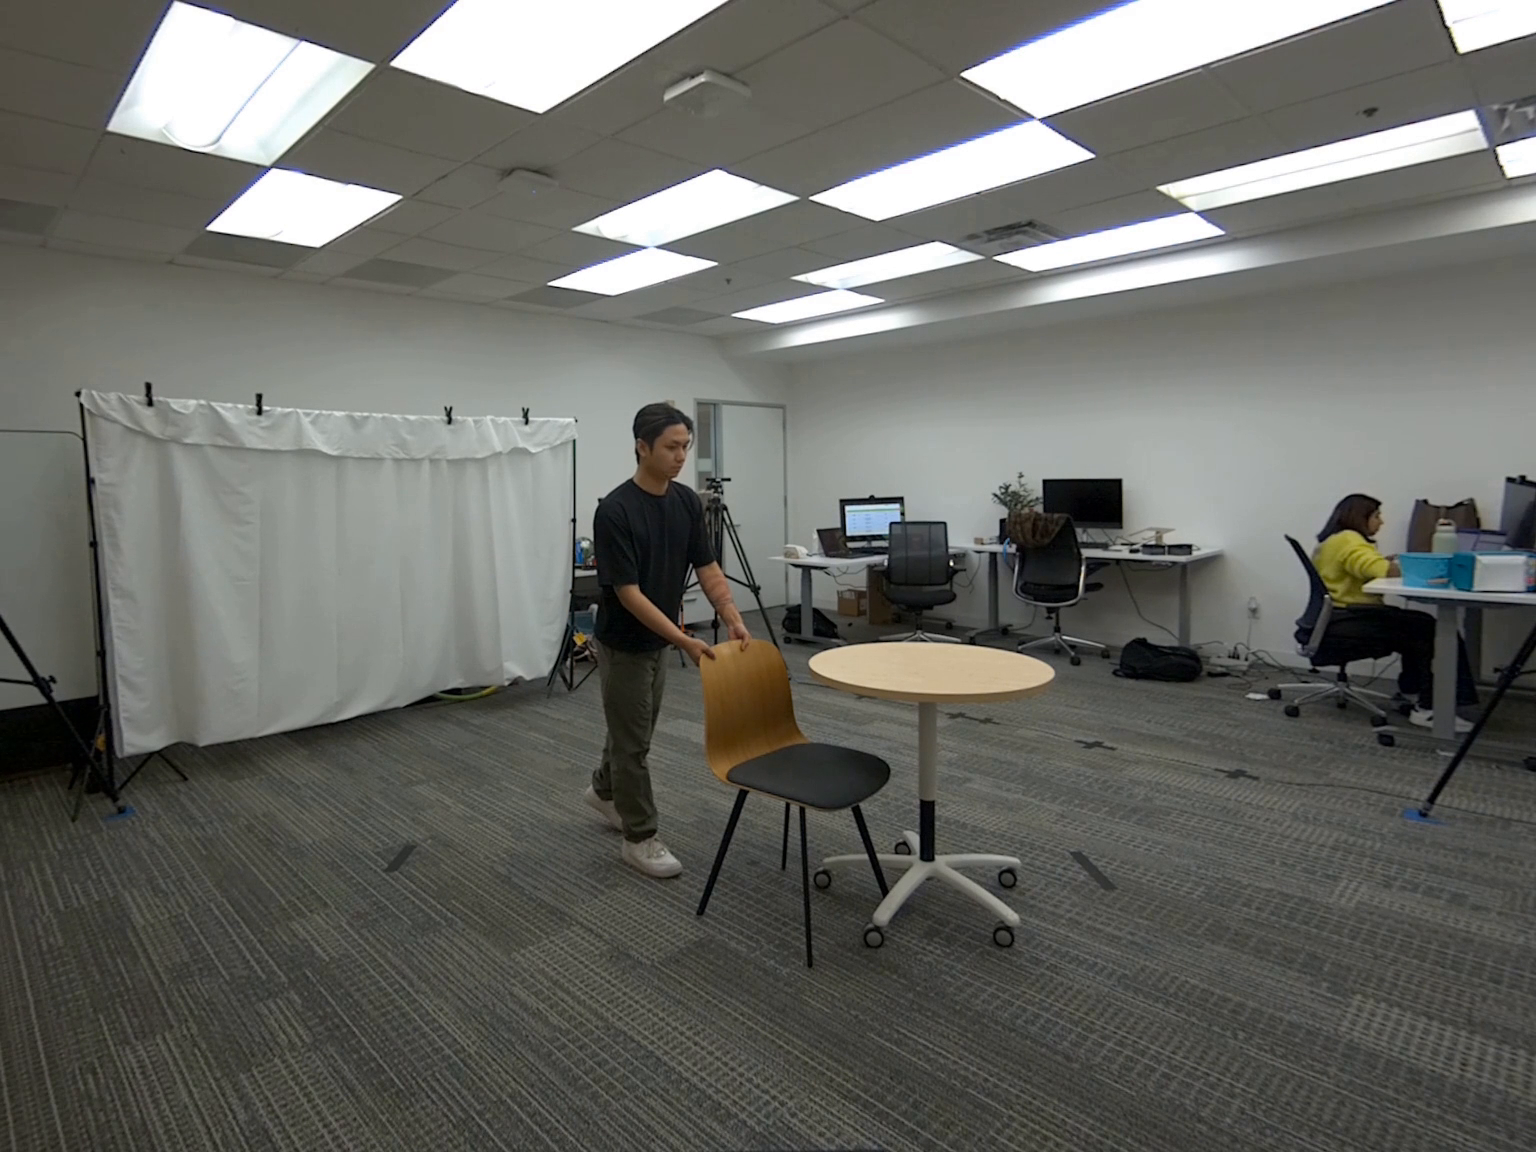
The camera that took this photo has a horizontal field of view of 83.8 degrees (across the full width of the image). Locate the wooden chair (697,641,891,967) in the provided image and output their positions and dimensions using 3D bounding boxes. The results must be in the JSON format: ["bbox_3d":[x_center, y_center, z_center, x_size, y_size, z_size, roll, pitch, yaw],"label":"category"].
[{"bbox_3d":[0.089,0.655,2.711,0.537,0.876,0.466,-3,2,41],"label":"wooden chair"}]
